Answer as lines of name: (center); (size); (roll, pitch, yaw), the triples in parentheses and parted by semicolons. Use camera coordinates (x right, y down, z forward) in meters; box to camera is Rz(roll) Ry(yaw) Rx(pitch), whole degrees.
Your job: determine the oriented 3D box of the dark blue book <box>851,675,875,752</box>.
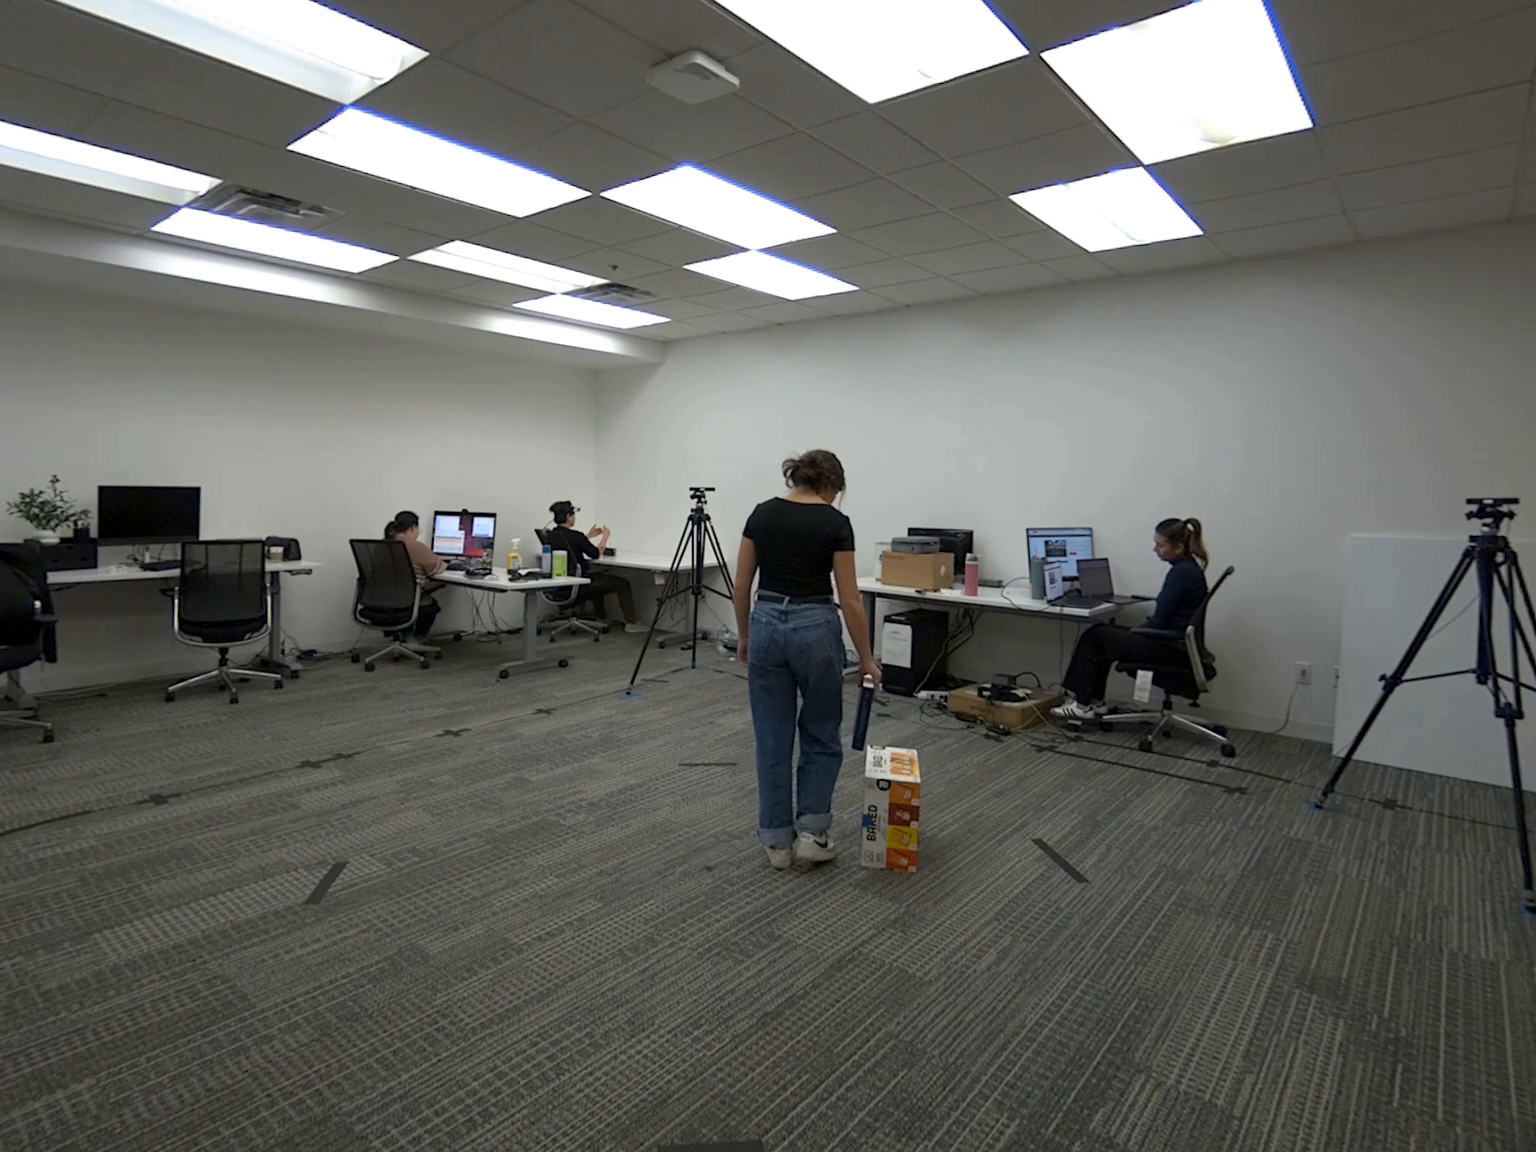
dark blue book: (0.347, 0.498, 3.130); (0.045, 0.243, 0.163); (9, 11, 4)
